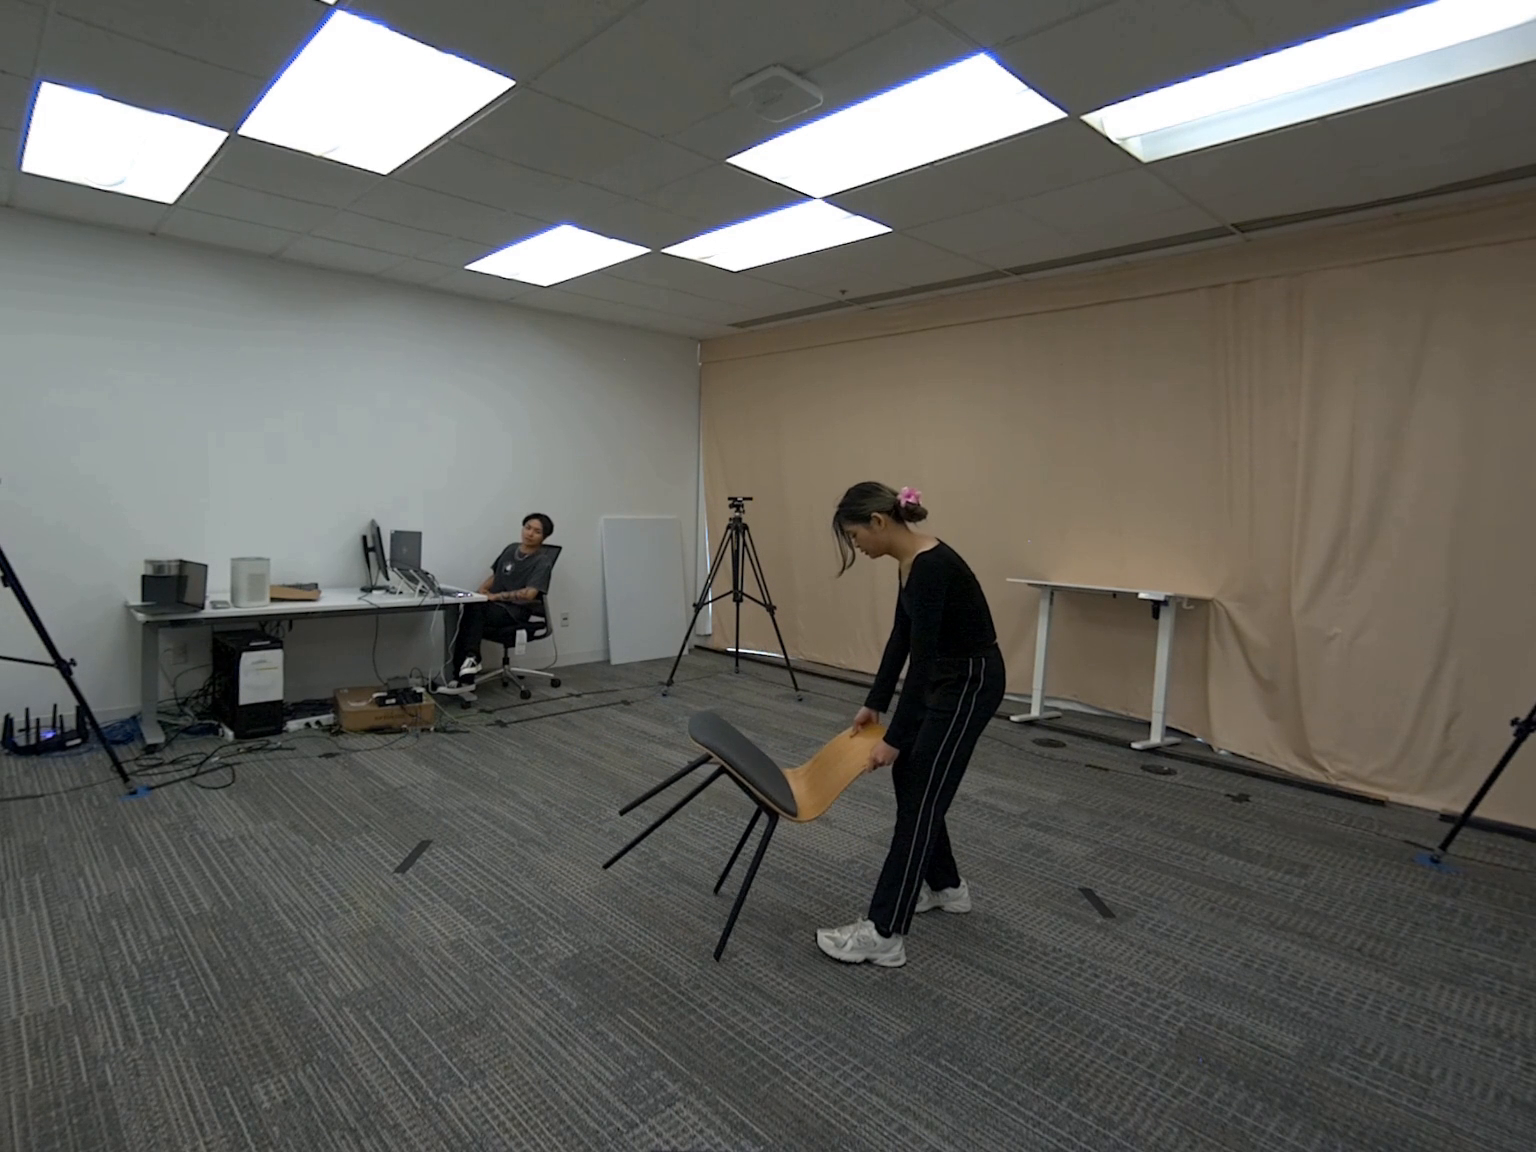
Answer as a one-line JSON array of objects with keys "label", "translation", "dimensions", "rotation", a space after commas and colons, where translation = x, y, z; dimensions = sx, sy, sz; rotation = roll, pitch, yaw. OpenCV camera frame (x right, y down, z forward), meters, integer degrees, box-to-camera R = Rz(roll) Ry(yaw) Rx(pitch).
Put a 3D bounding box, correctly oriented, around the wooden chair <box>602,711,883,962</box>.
[{"label": "wooden chair", "translation": [-0.073, 0.659, 2.719], "dimensions": [0.521, 0.877, 0.480], "rotation": [45, 1, -4]}]
